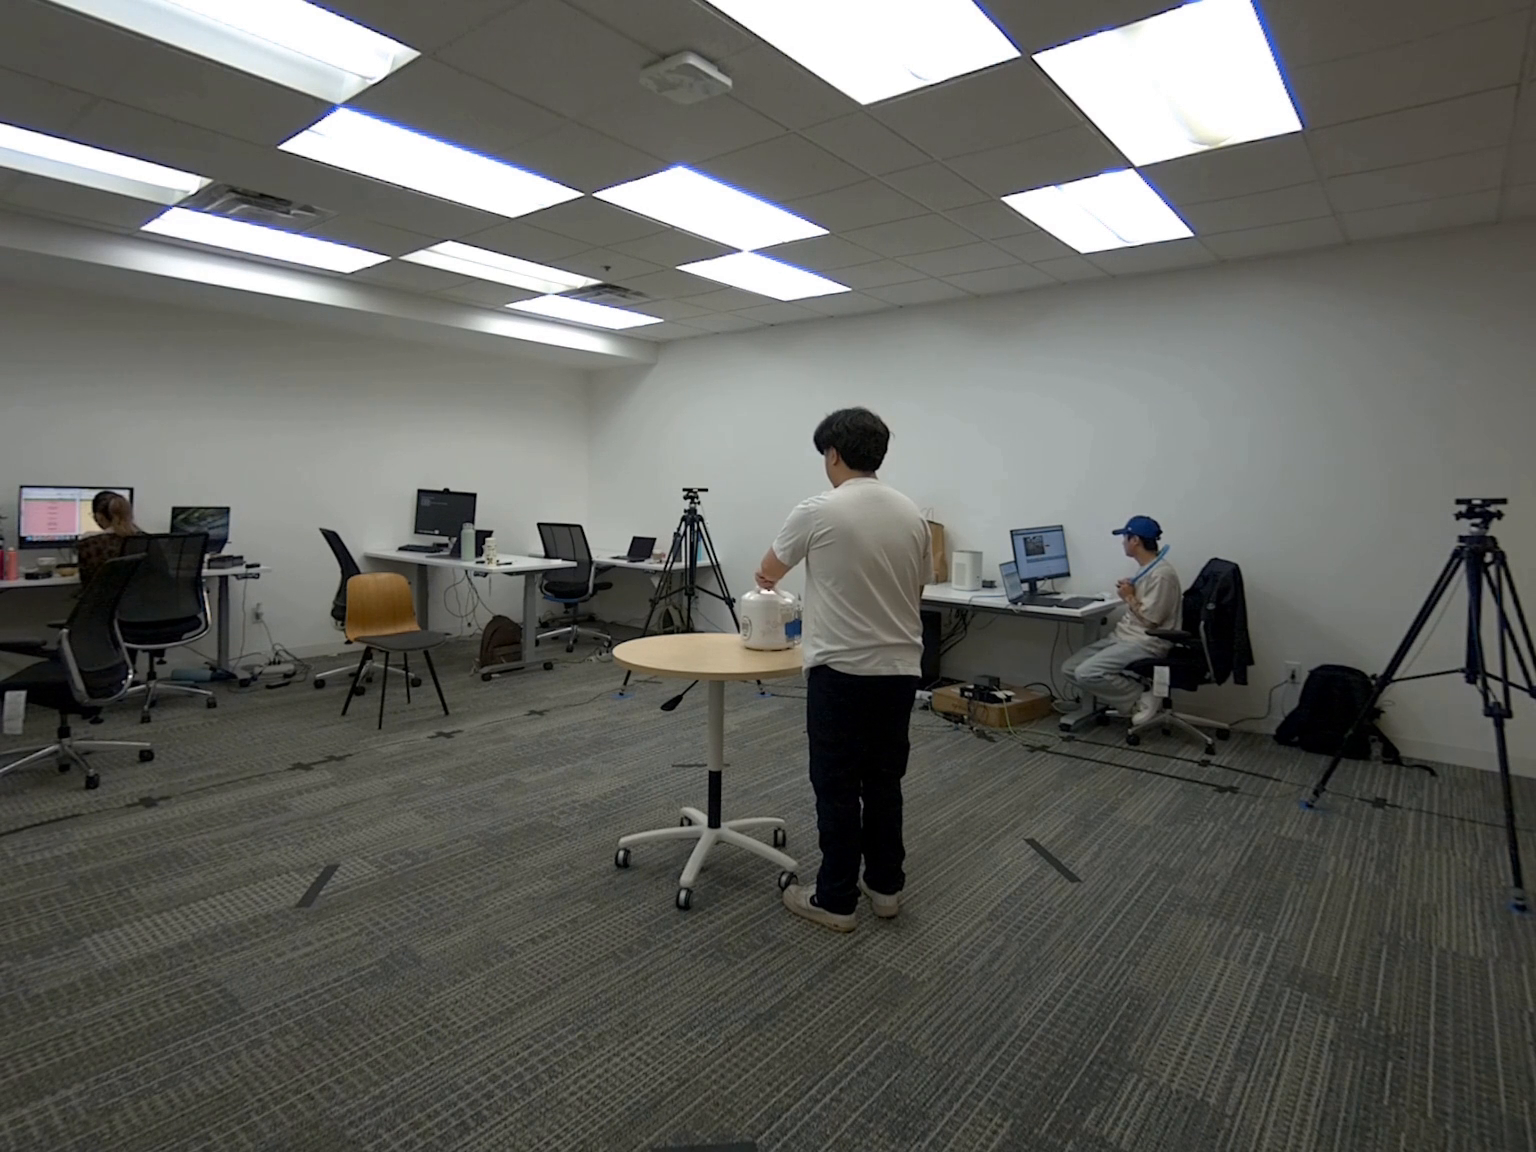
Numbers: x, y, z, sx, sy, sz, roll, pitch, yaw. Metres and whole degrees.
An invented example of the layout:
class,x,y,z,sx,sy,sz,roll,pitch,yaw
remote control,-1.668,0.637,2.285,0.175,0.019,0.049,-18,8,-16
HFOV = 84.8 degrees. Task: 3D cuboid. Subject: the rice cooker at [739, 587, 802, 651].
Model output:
class,x,y,z,sx,sy,sz,roll,pitch,yaw
rice cooker,-0.010,0.149,3.204,0.211,0.232,0.228,-2,4,-39
